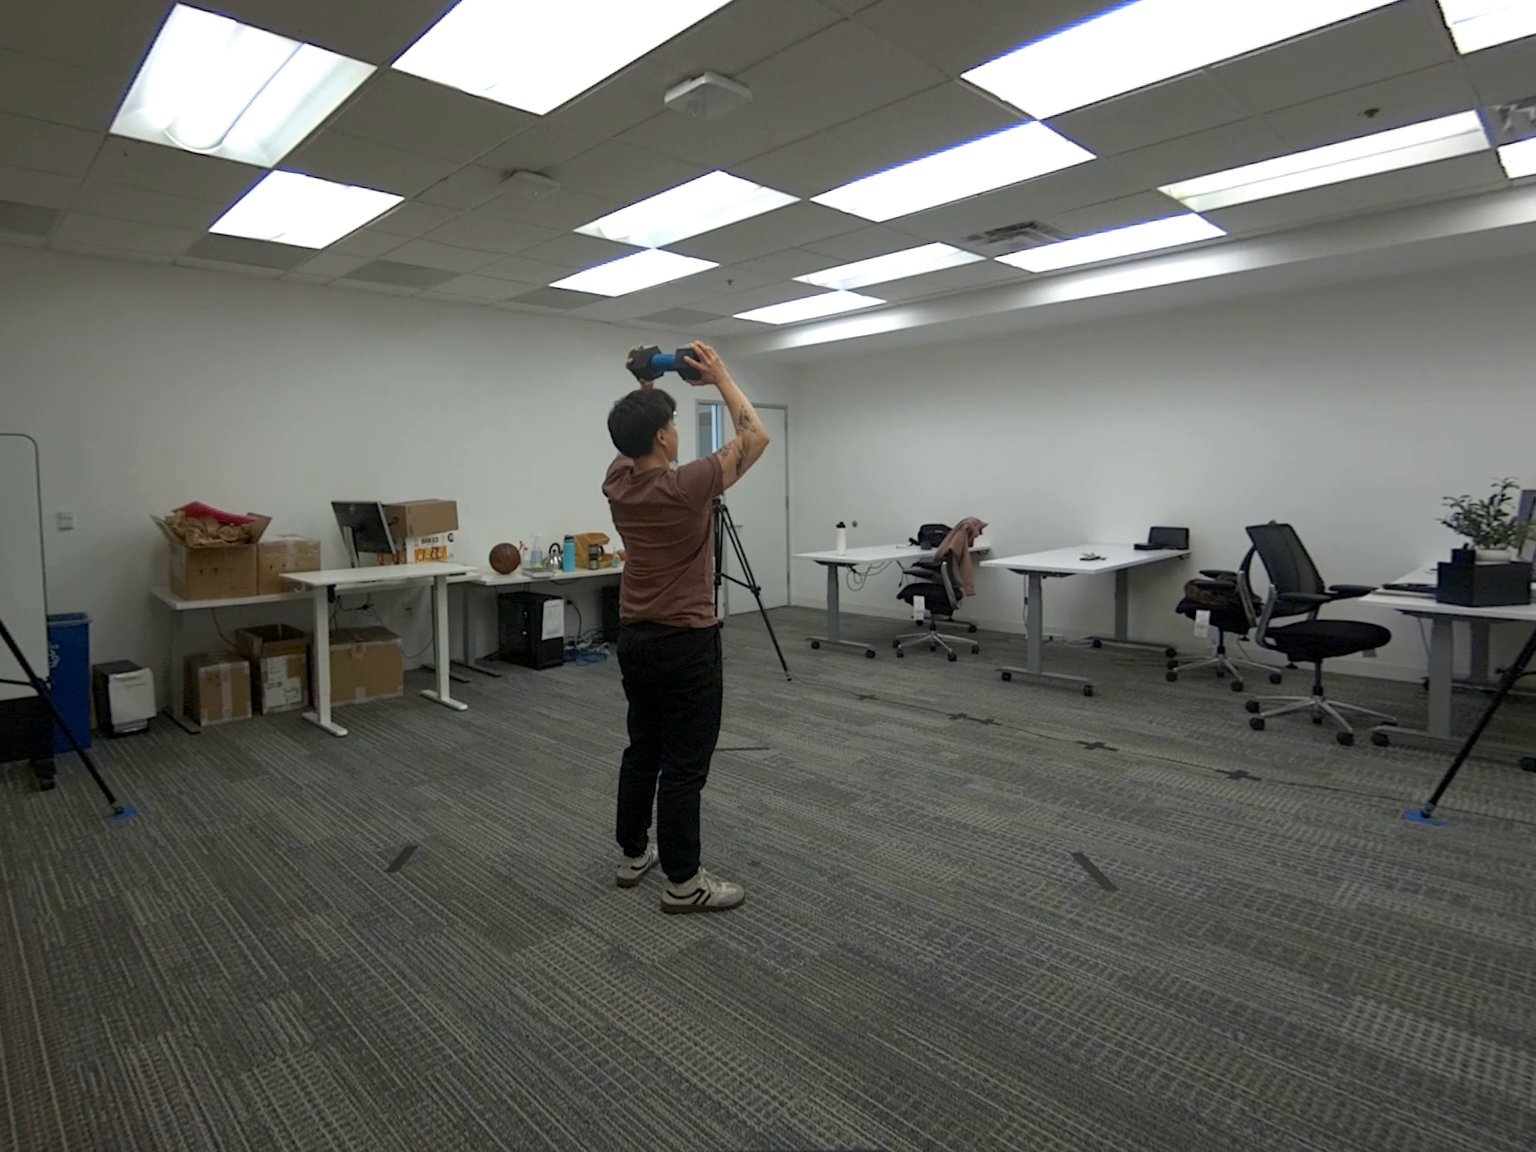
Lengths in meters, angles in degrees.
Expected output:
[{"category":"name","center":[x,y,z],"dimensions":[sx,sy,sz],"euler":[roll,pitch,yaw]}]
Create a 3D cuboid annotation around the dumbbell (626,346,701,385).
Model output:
[{"category":"dumbbell","center":[-0.324,-0.713,2.847],"dimensions":[0.303,0.109,0.118],"euler":[10,-28,38]}]
